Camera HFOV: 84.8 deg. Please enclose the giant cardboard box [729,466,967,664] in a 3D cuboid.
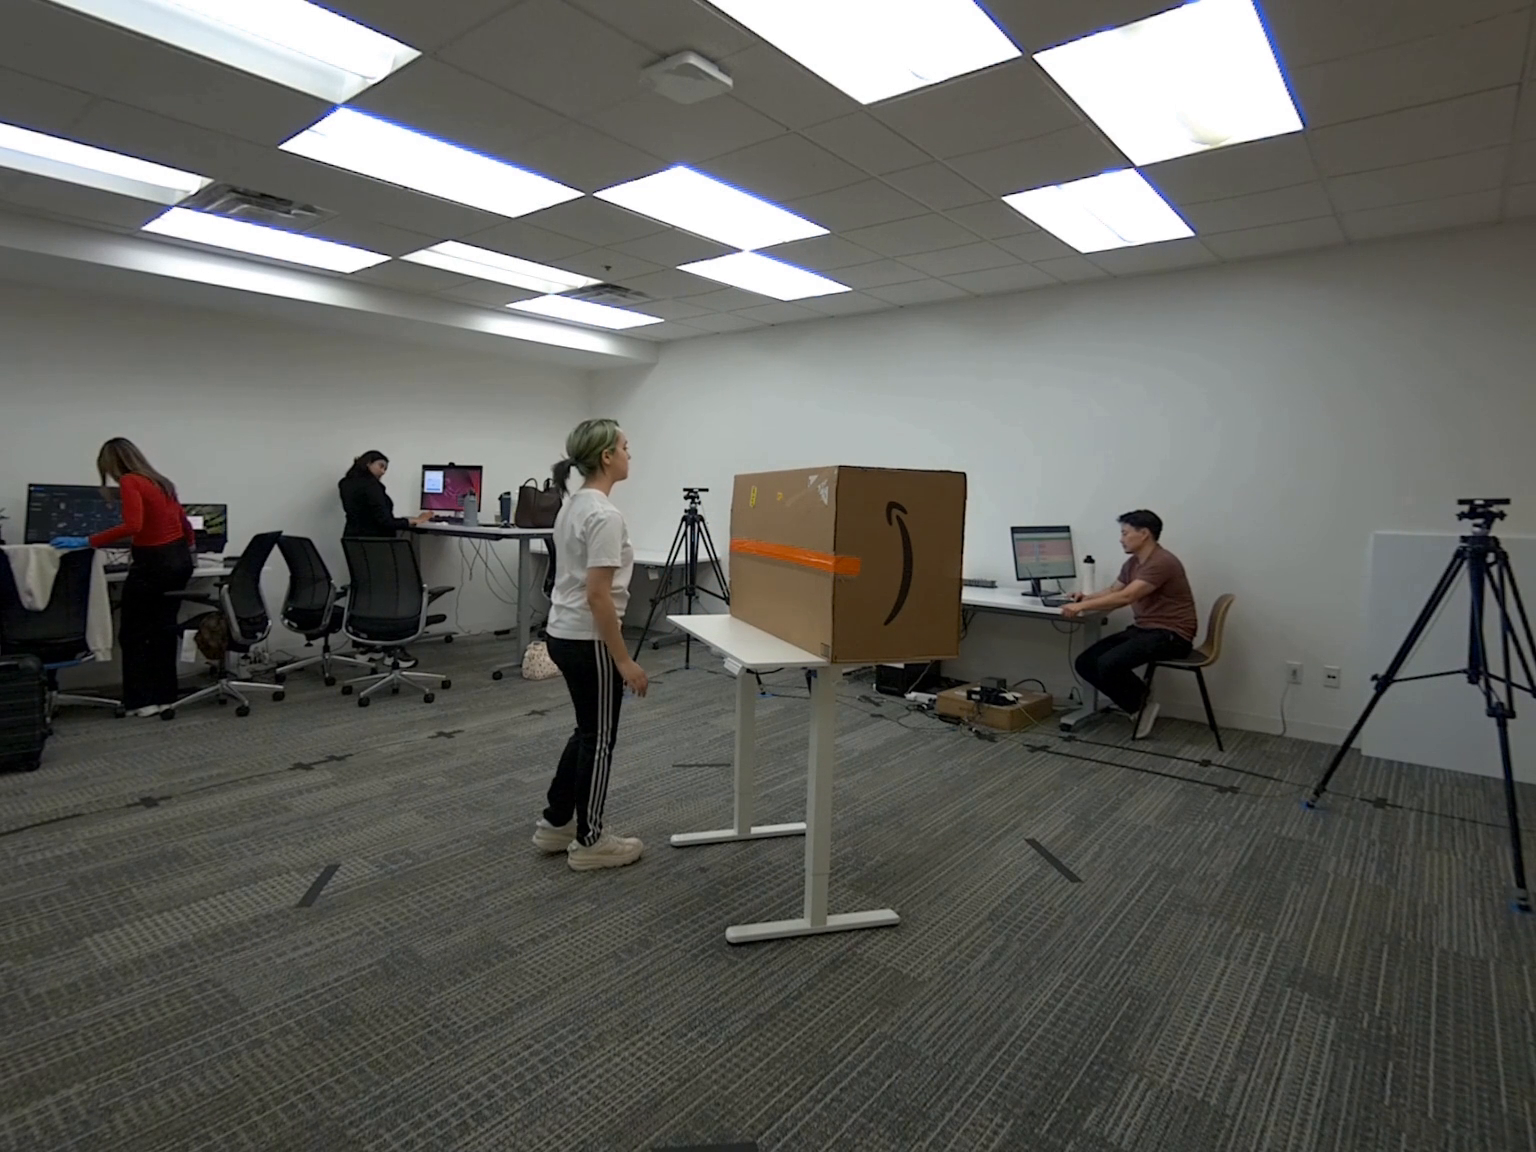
[{"bbox_3d":[0.215,-0.085,3.007,0.439,0.582,1.048,-1,4,-18],"label":"giant cardboard box"}]
